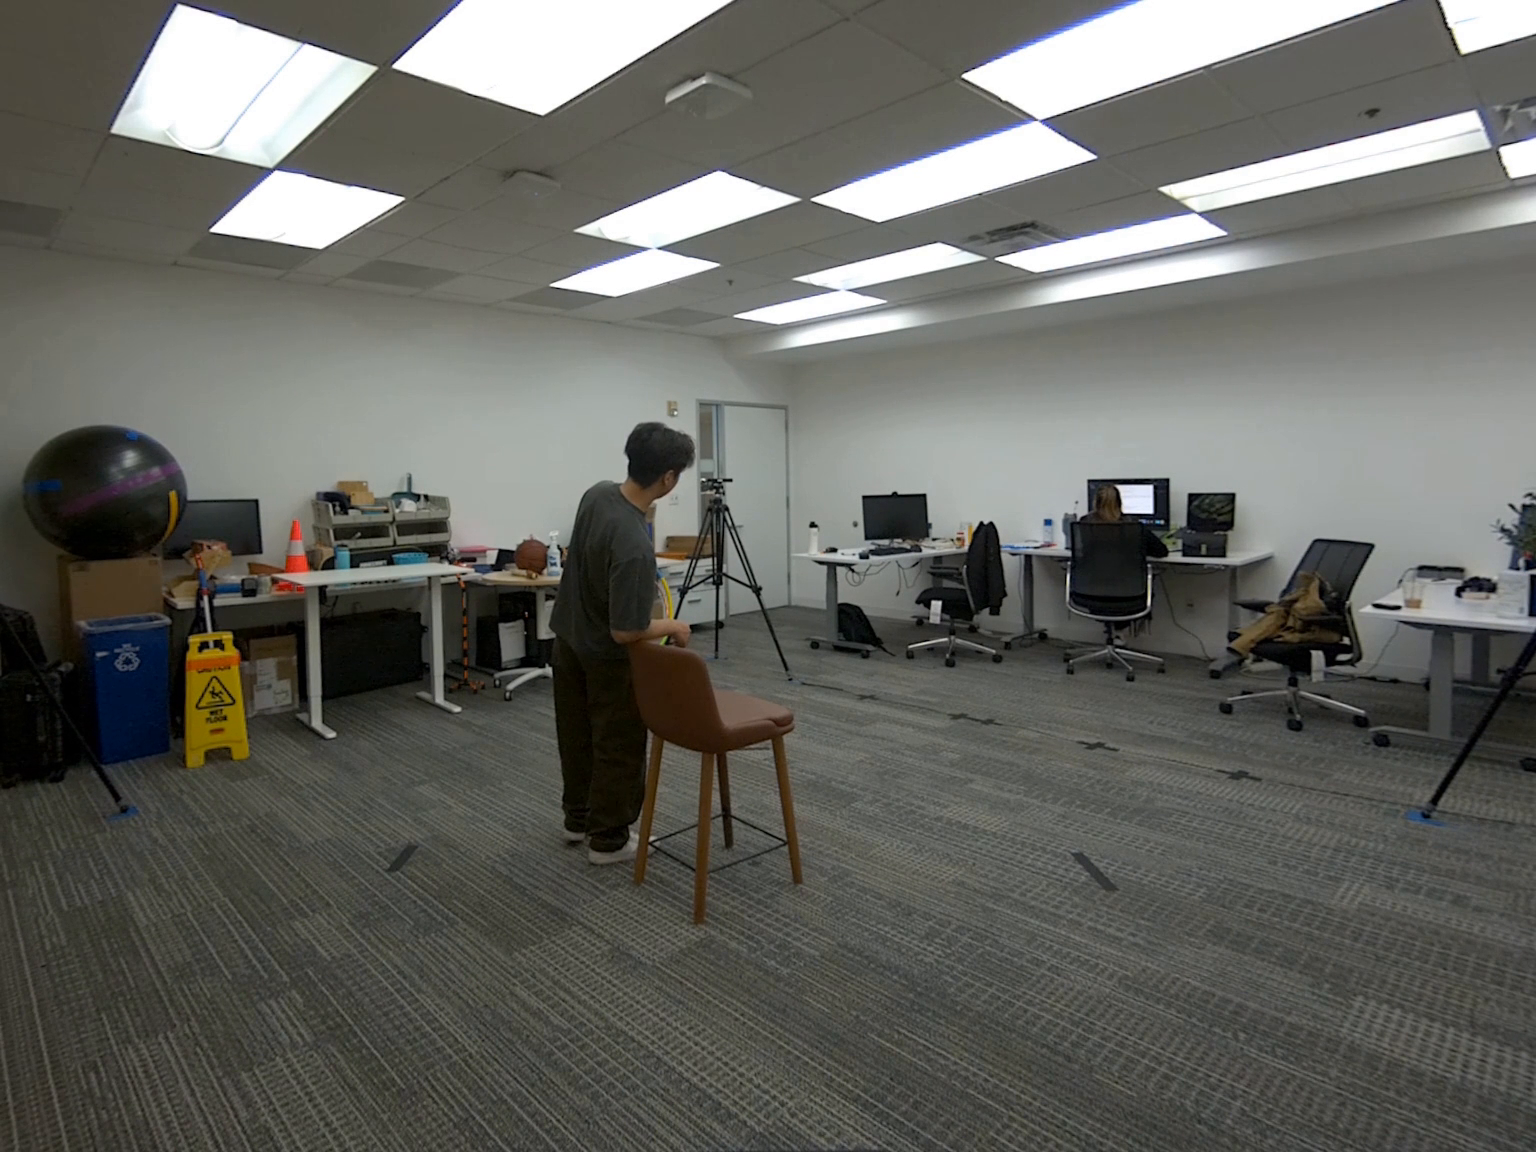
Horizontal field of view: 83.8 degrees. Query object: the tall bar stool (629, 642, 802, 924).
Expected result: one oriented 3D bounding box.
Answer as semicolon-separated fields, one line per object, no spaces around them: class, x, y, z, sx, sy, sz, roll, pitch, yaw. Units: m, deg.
tall bar stool;-0.187;0.631;2.928;0.456;0.885;0.470;-7;7;-40
